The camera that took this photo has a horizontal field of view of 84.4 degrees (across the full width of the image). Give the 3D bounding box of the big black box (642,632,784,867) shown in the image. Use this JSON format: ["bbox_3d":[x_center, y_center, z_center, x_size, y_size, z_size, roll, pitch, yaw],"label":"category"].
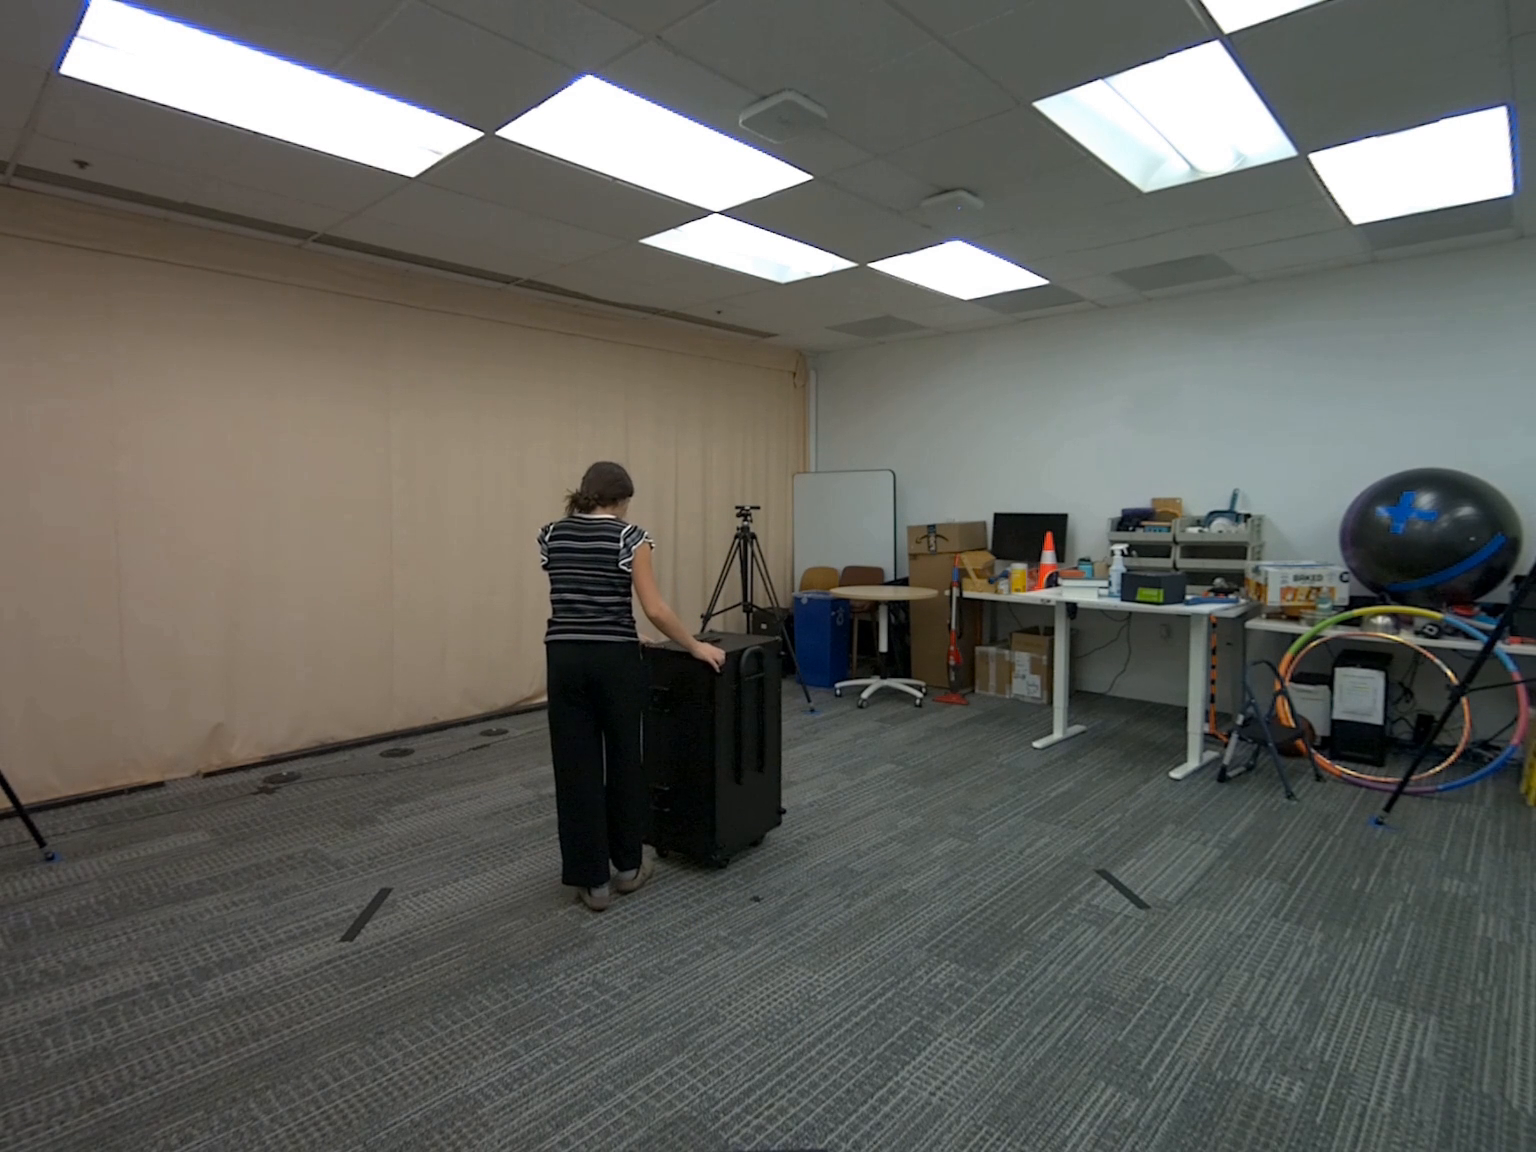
[{"bbox_3d":[-0.199,0.691,3.389,0.408,0.859,0.507,4,5,33],"label":"big black box"}]
